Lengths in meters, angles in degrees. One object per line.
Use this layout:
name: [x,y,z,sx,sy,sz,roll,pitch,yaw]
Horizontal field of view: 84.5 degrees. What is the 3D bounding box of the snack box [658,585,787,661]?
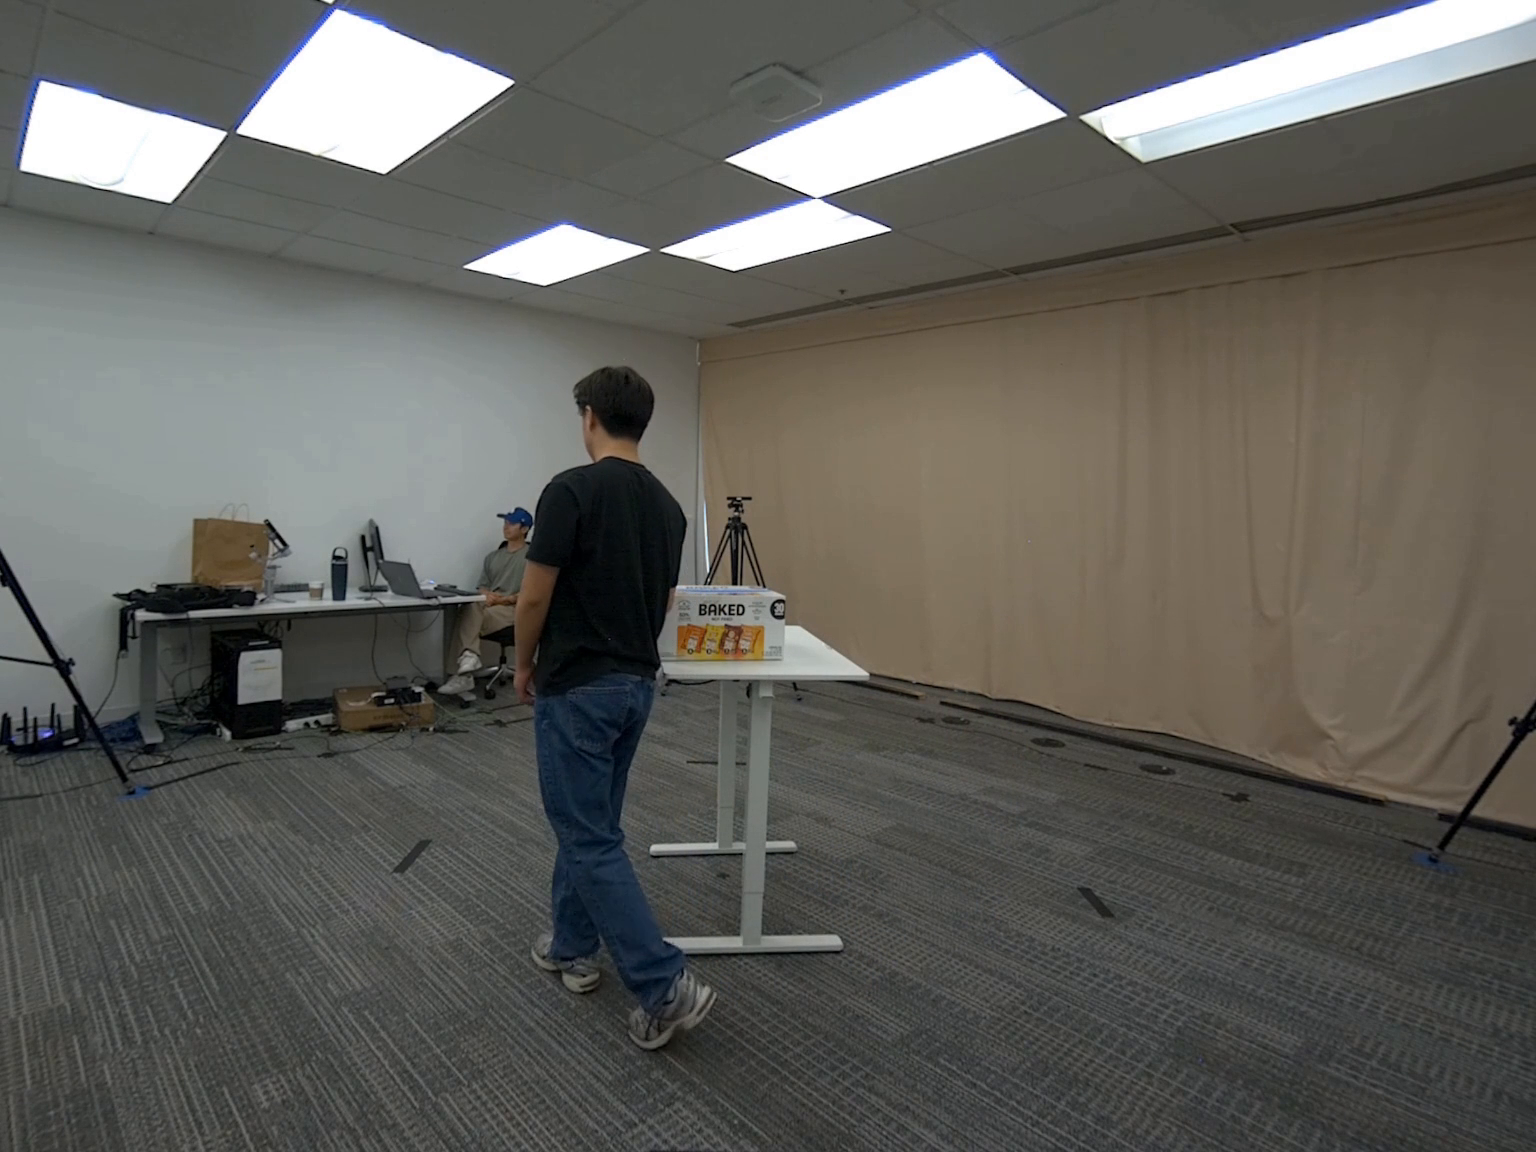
snack box: [-0.186,0.150,2.760,0.401,0.205,0.345,1,4,-13]
